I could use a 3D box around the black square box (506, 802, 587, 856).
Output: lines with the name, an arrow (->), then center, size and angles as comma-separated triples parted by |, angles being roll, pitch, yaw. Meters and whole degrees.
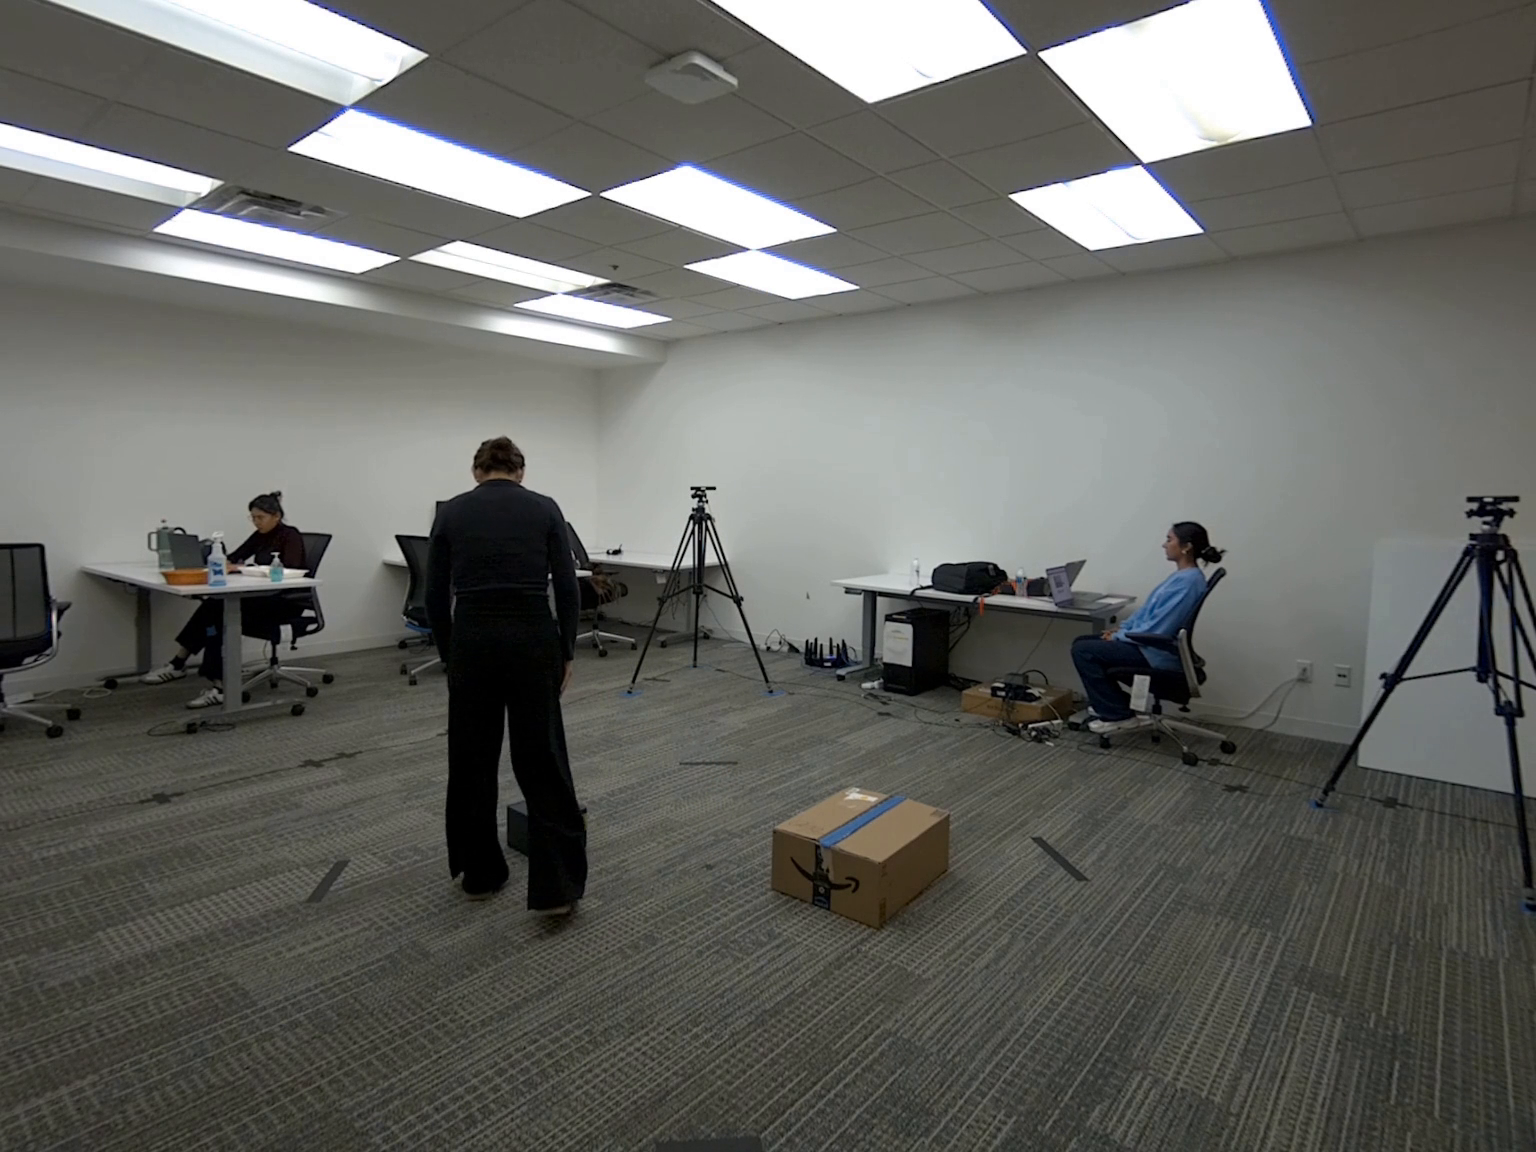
black square box -> -0.854, 0.953, 3.262 | 0.235, 0.155, 0.210 | 5, 6, 41
